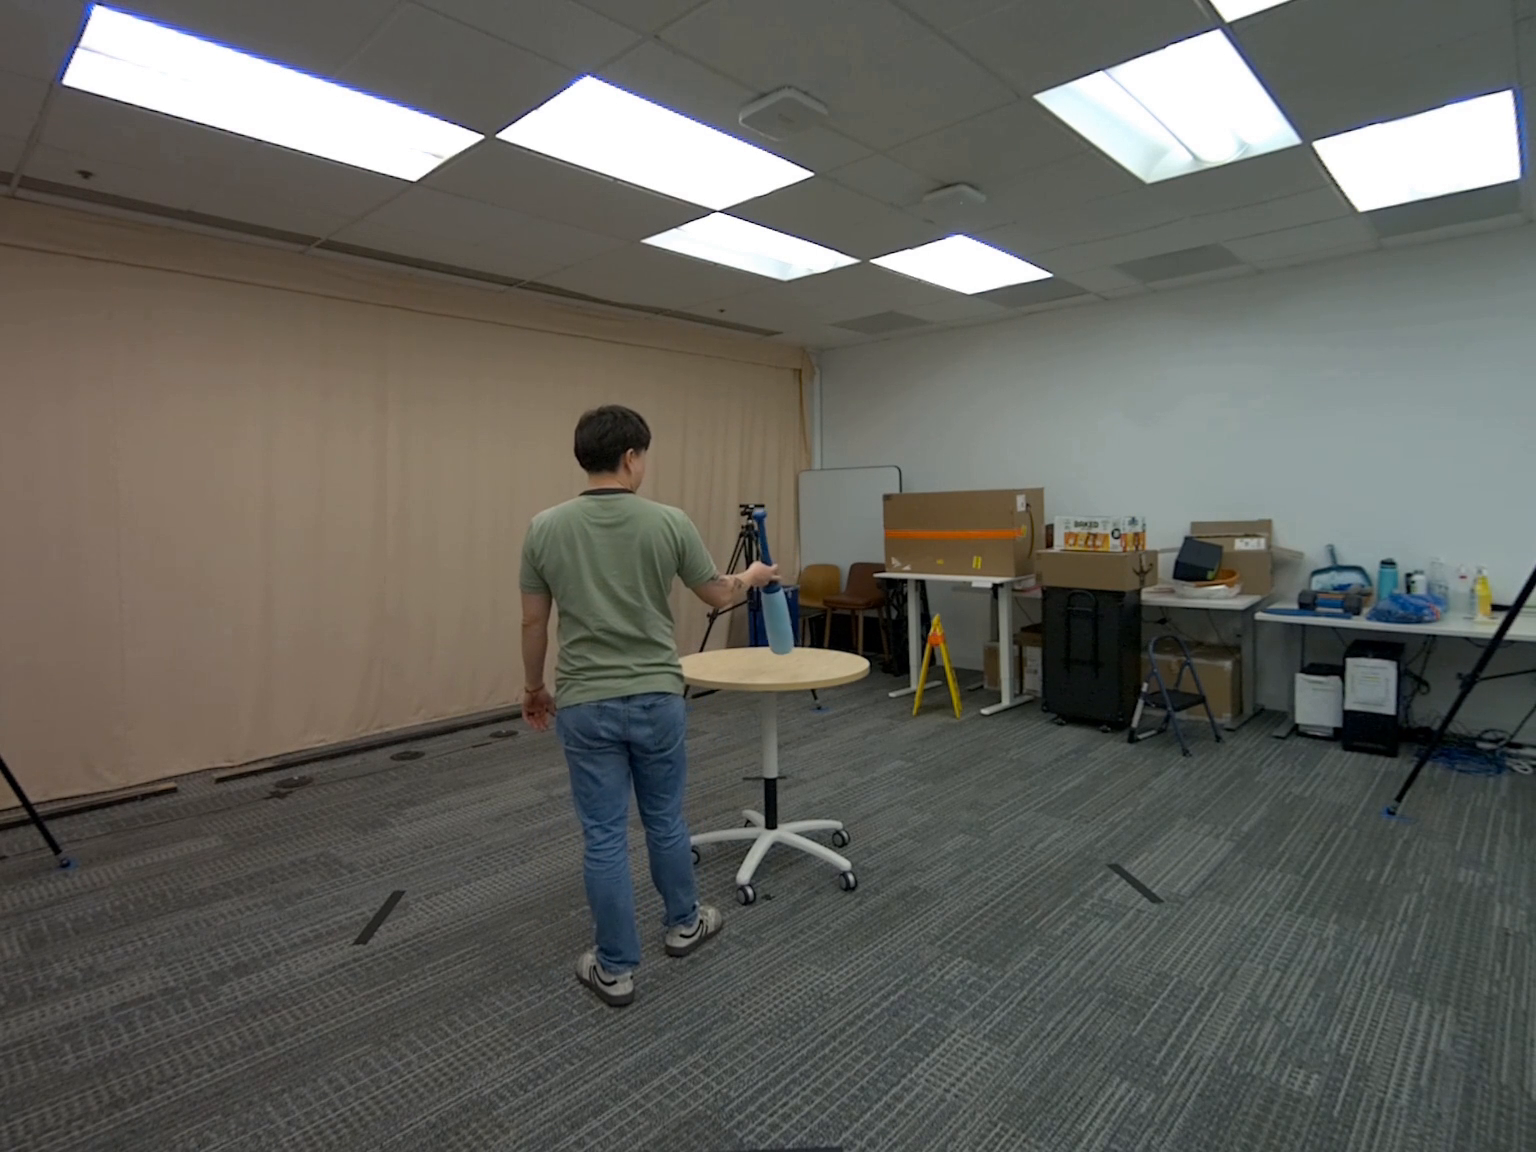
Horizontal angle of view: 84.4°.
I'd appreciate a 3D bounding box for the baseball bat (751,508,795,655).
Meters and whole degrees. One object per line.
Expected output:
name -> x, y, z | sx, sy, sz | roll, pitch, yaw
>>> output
baseball bat -> 0.017, 0.023, 2.862 | 0.089, 0.533, 0.090 | -8, 24, 2
